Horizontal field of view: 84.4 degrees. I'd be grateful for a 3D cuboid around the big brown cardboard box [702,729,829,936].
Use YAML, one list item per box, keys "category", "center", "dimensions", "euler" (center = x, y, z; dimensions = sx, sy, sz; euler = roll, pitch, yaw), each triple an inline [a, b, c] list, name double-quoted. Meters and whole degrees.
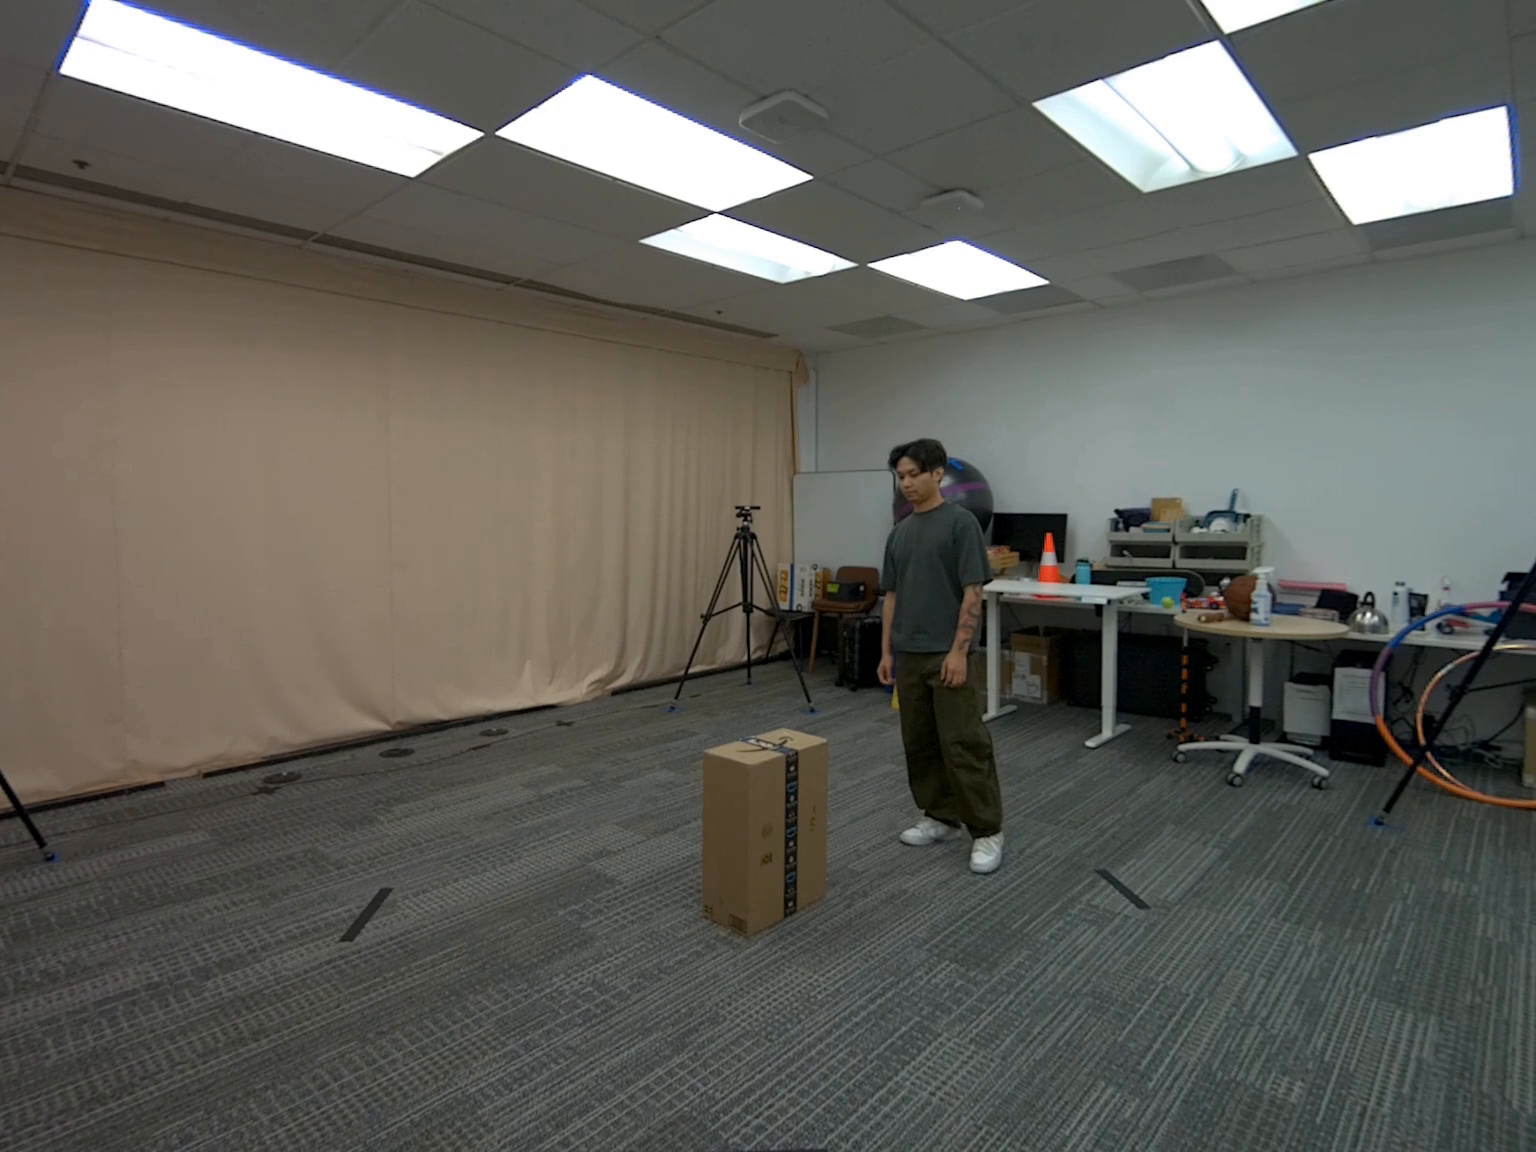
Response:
- category: "big brown cardboard box"
  center: [-0.004, 0.862, 2.919]
  dimensions: [0.241, 0.588, 0.404]
  euler: [2, 3, 43]
